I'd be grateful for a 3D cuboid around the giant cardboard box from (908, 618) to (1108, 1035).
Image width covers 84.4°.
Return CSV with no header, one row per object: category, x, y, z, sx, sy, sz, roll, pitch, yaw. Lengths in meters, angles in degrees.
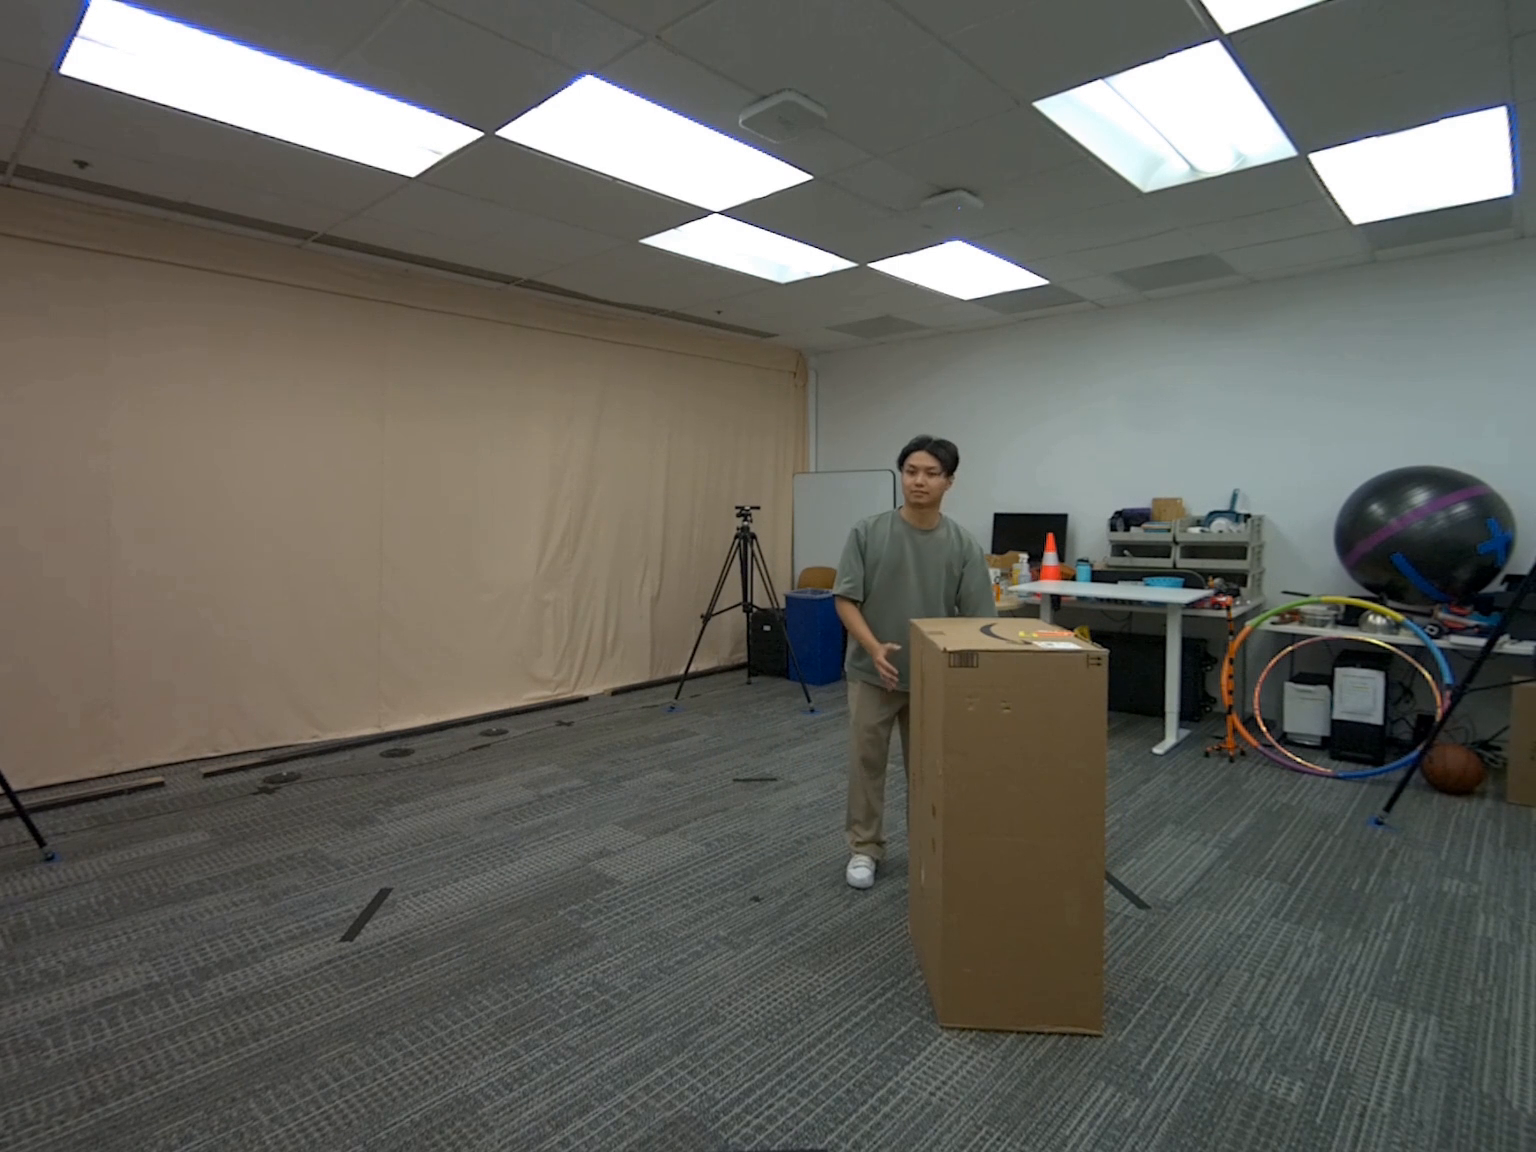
giant cardboard box,0.678,0.673,2.481,0.428,1.024,0.577,0,3,2
